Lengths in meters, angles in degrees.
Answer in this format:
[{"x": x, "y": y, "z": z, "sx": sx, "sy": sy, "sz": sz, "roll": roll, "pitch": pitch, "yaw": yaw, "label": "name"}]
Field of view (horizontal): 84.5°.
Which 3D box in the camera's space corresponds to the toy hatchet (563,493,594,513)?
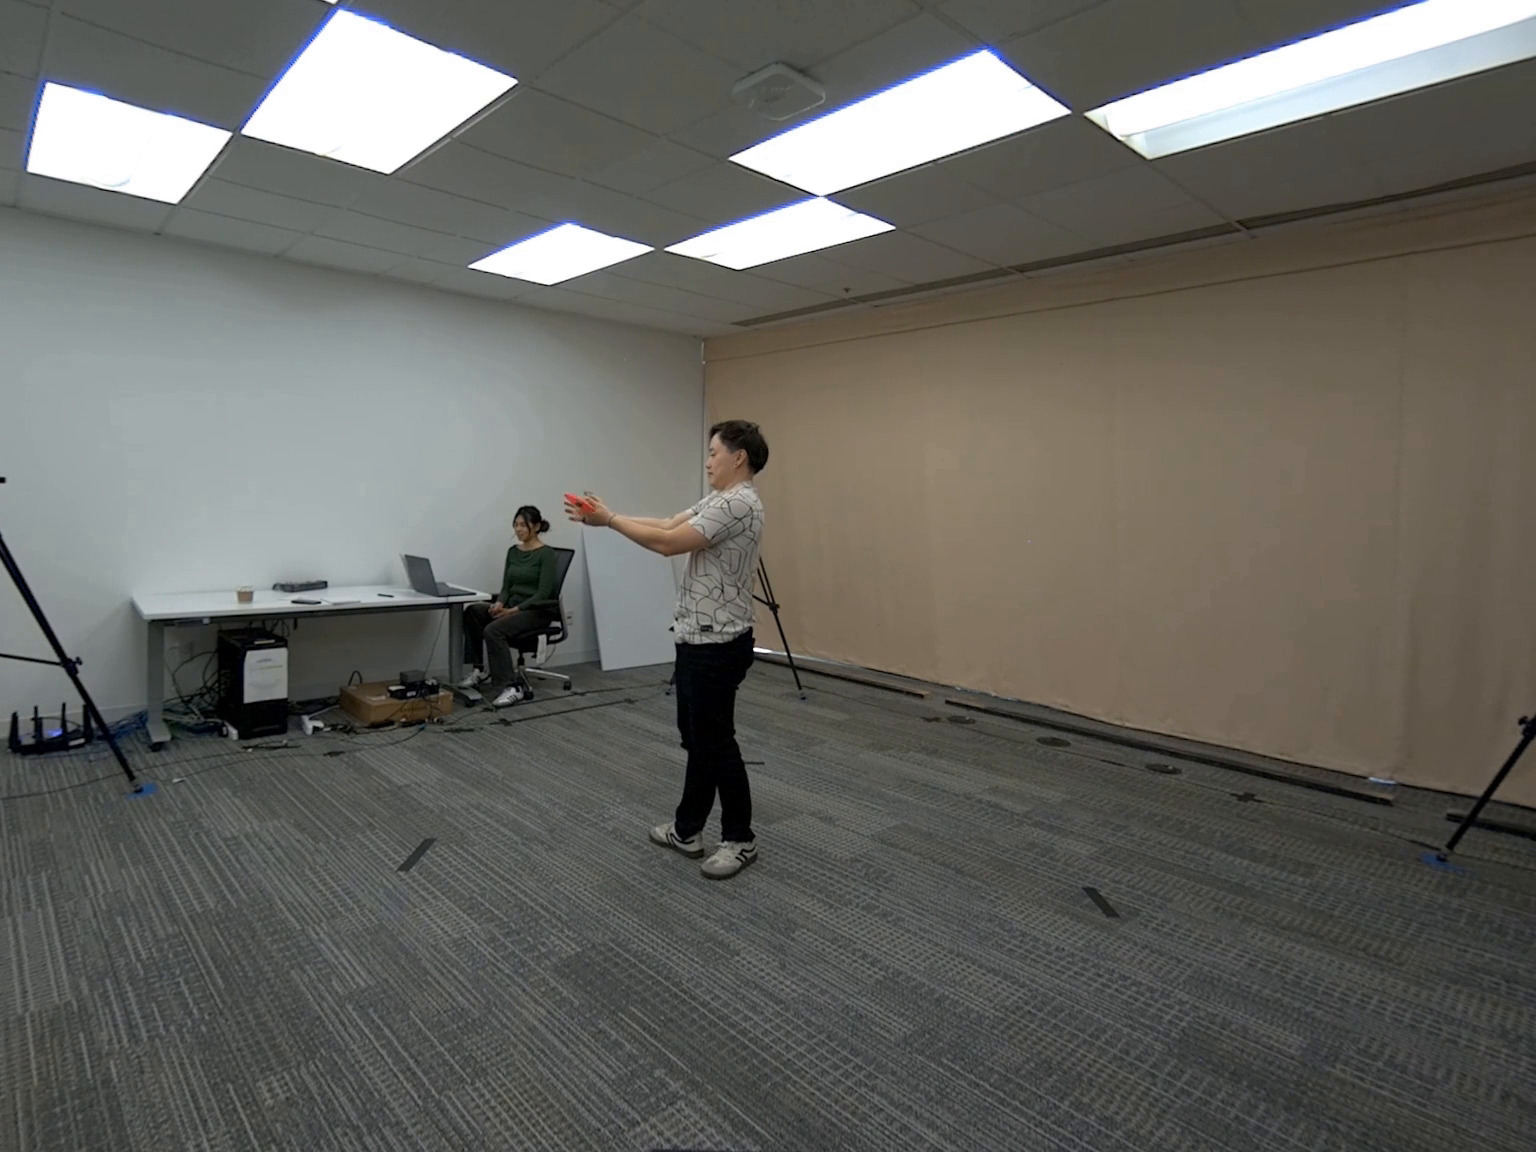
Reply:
[{"x": -0.709, "y": -0.292, "z": 3.140, "sx": 0.129, "sy": 0.029, "sz": 0.276, "roll": 23, "pitch": 11, "yaw": -19, "label": "toy hatchet"}]
